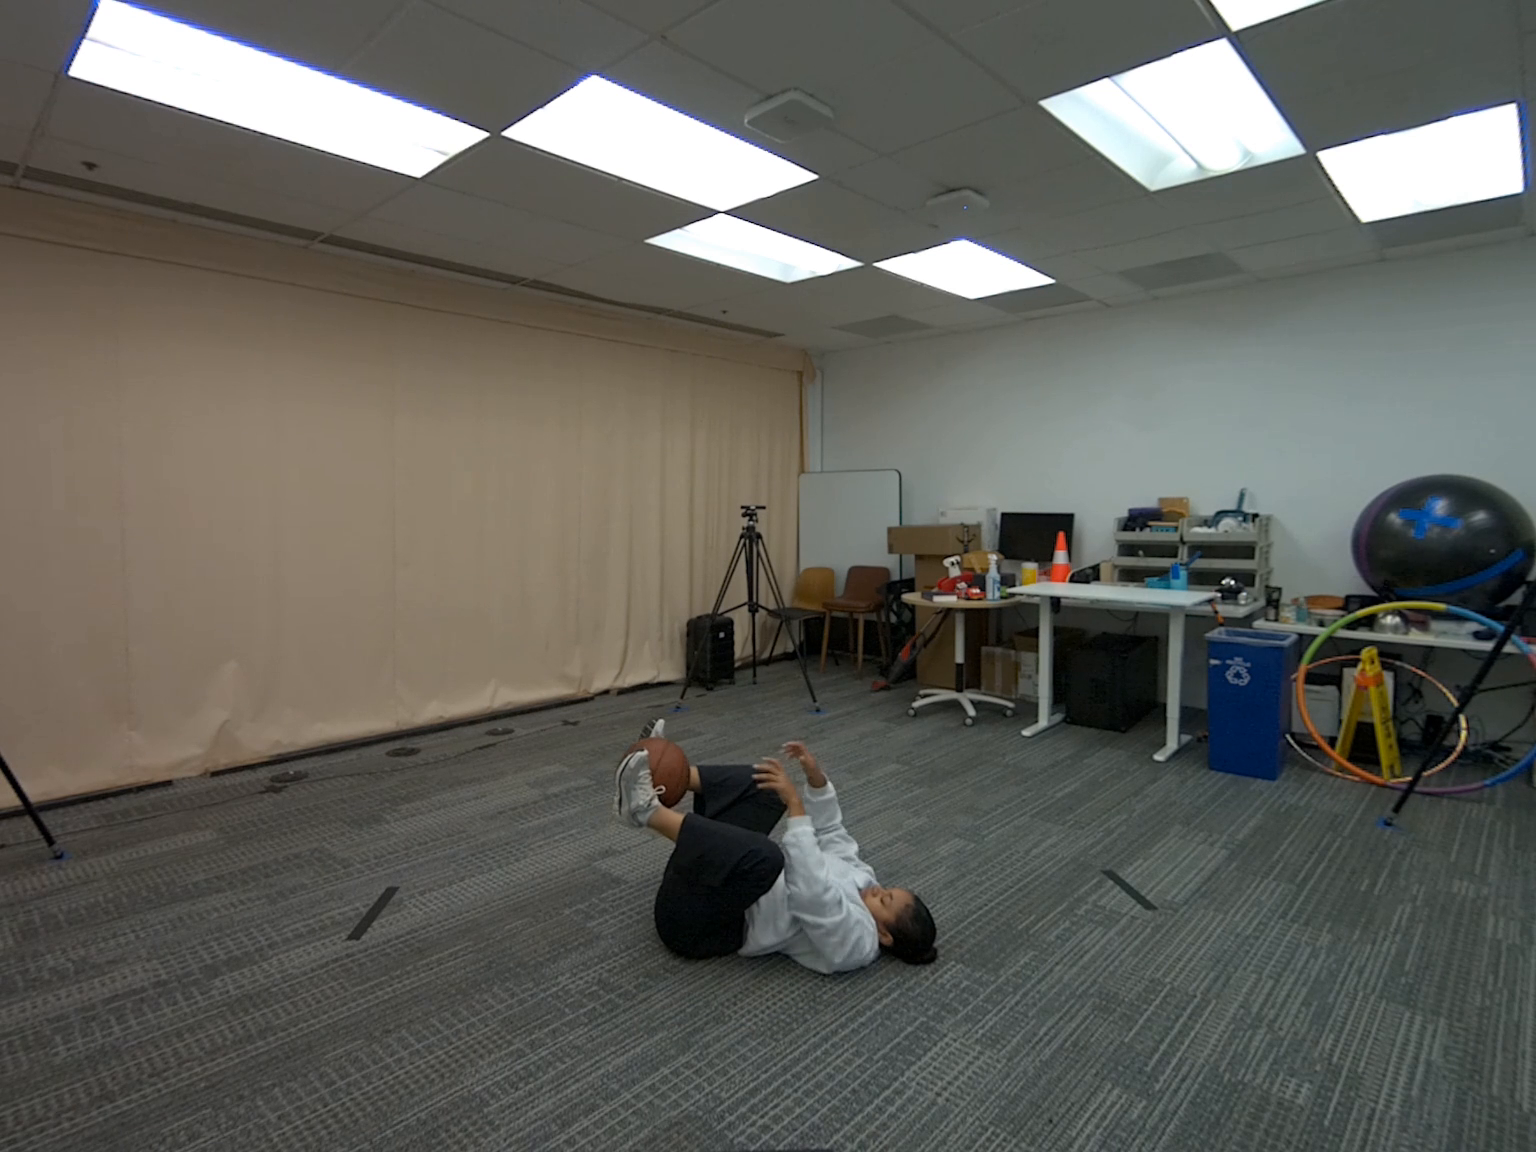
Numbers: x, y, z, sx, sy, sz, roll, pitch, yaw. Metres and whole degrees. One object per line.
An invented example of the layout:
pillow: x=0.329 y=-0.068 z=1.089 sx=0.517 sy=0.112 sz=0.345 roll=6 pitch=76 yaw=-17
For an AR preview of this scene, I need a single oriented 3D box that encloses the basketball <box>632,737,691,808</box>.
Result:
basketball: x=-0.368 y=0.653 z=2.741 sx=0.236 sy=0.236 sz=0.236 roll=2 pitch=0 yaw=-2
